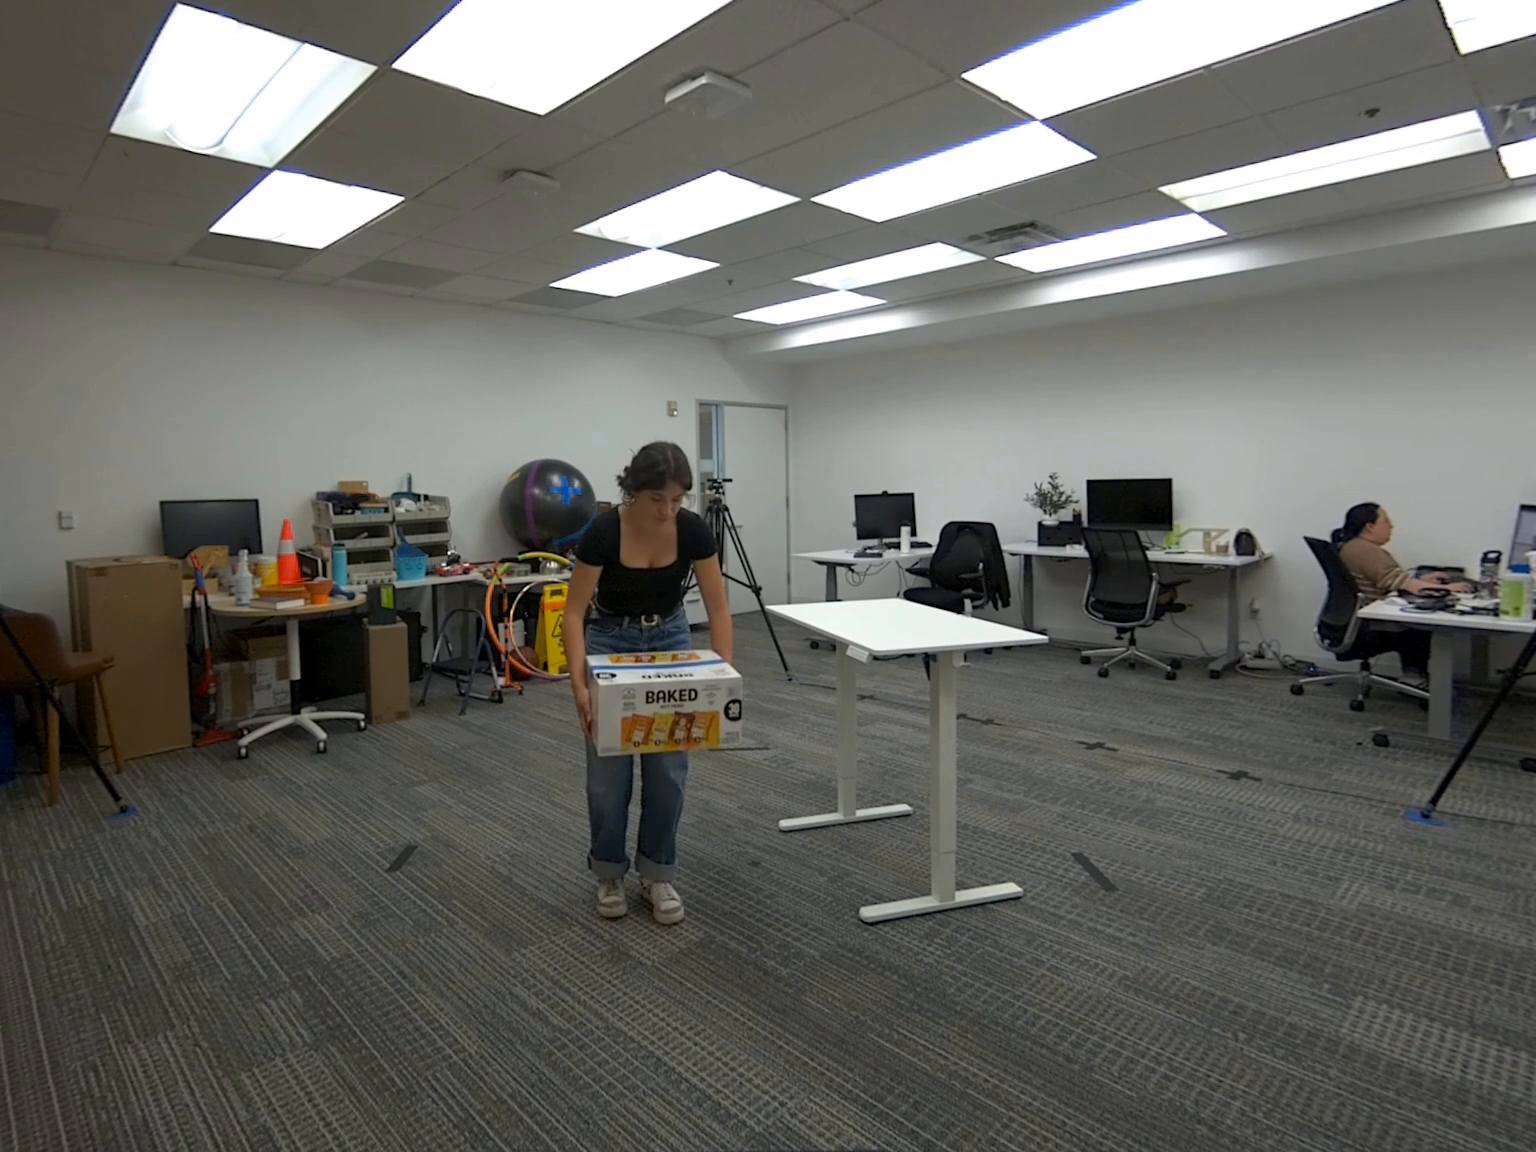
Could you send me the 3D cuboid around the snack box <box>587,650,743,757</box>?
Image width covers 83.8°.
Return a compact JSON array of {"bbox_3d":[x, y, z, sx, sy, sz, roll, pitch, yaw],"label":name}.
[{"bbox_3d":[-0.317,0.366,2.498,0.399,0.204,0.347,-2,7,-17],"label":"snack box"}]
